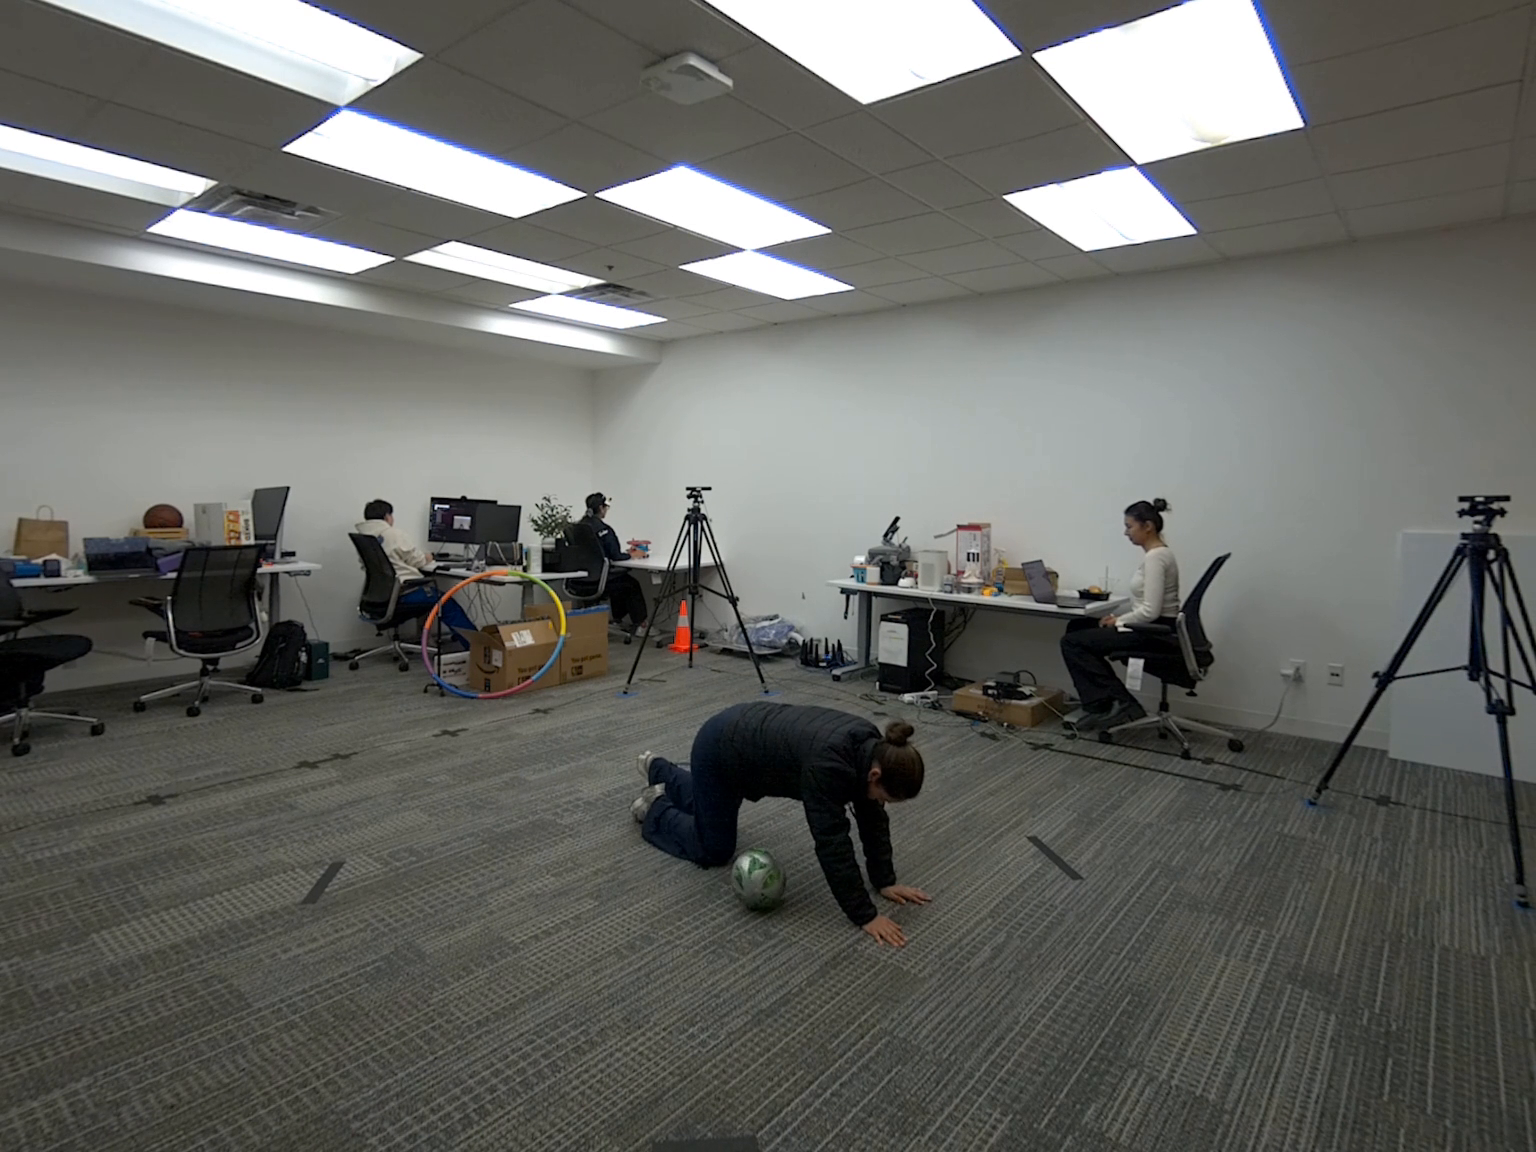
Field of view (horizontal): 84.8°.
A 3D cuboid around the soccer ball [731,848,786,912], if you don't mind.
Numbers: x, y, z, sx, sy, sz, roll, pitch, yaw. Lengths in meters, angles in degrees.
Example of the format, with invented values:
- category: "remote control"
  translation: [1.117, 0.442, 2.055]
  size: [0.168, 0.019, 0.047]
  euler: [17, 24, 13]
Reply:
- category: "soccer ball"
  translation: [-0.041, 0.996, 2.832]
  size: [0.187, 0.187, 0.188]
  euler: [1, 4, -2]
